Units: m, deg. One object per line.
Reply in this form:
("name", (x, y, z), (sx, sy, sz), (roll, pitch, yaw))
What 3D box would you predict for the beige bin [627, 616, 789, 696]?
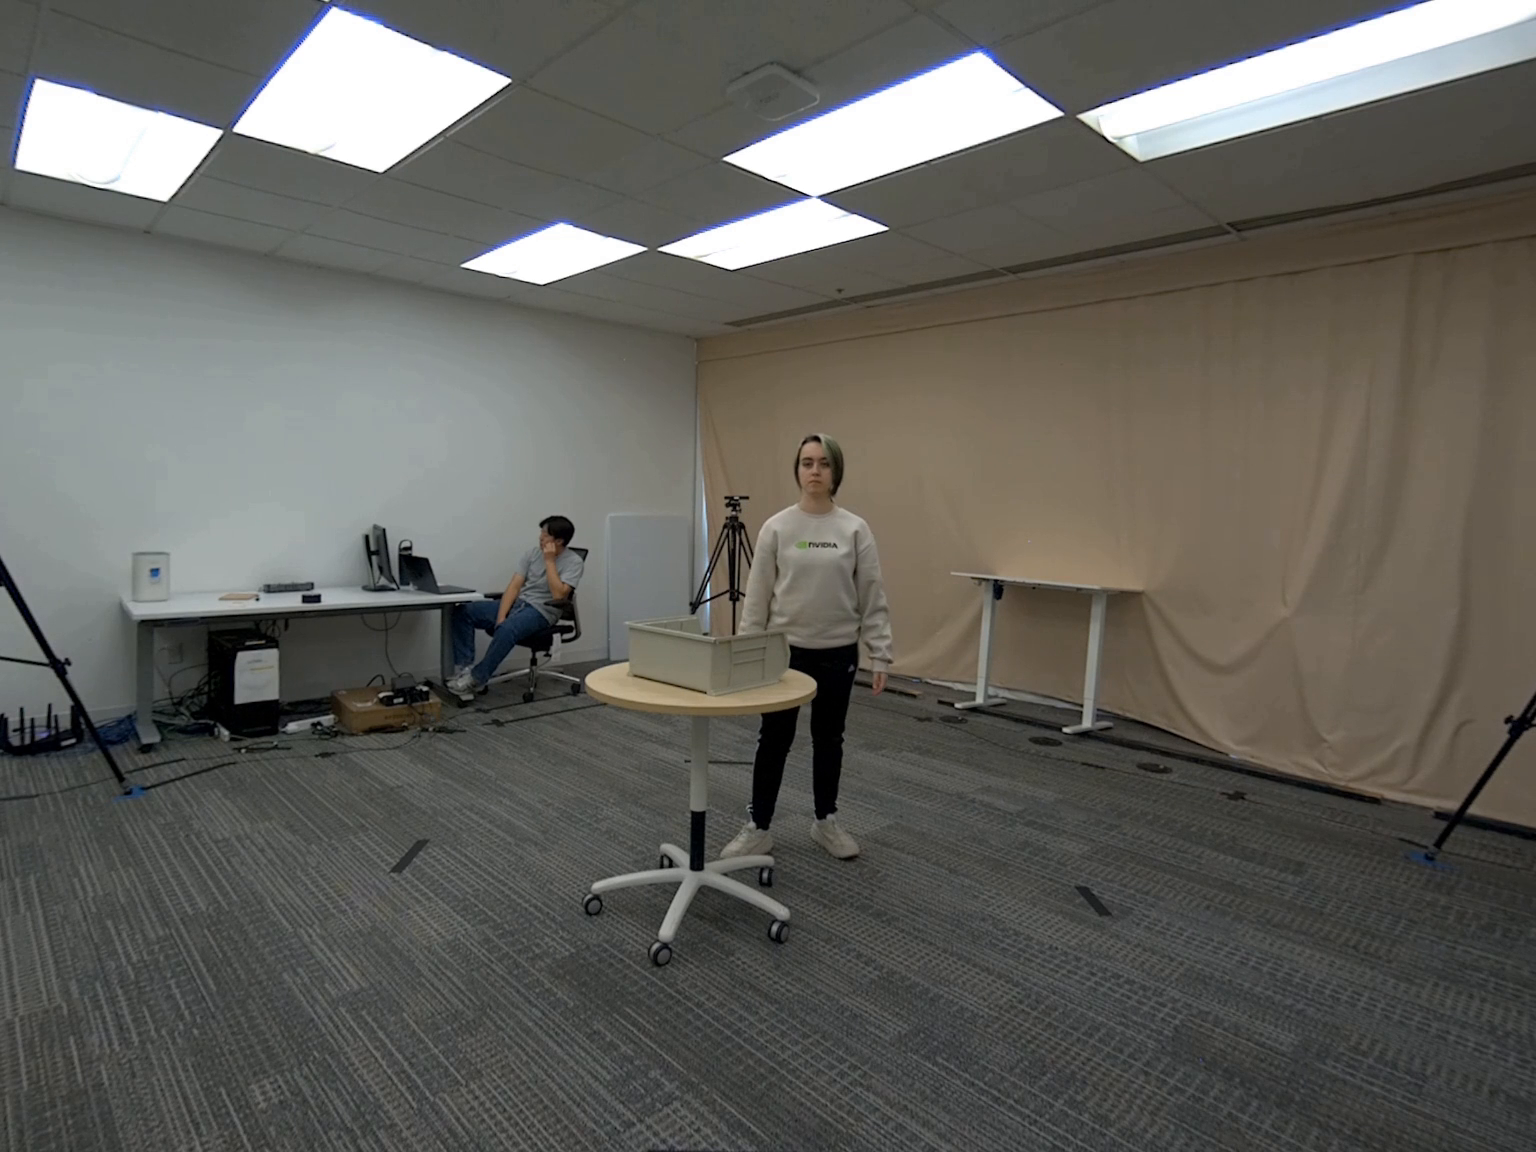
("beige bin", (-0.209, 0.257, 2.814), (0.433, 0.188, 0.369), (6, 7, 41))
